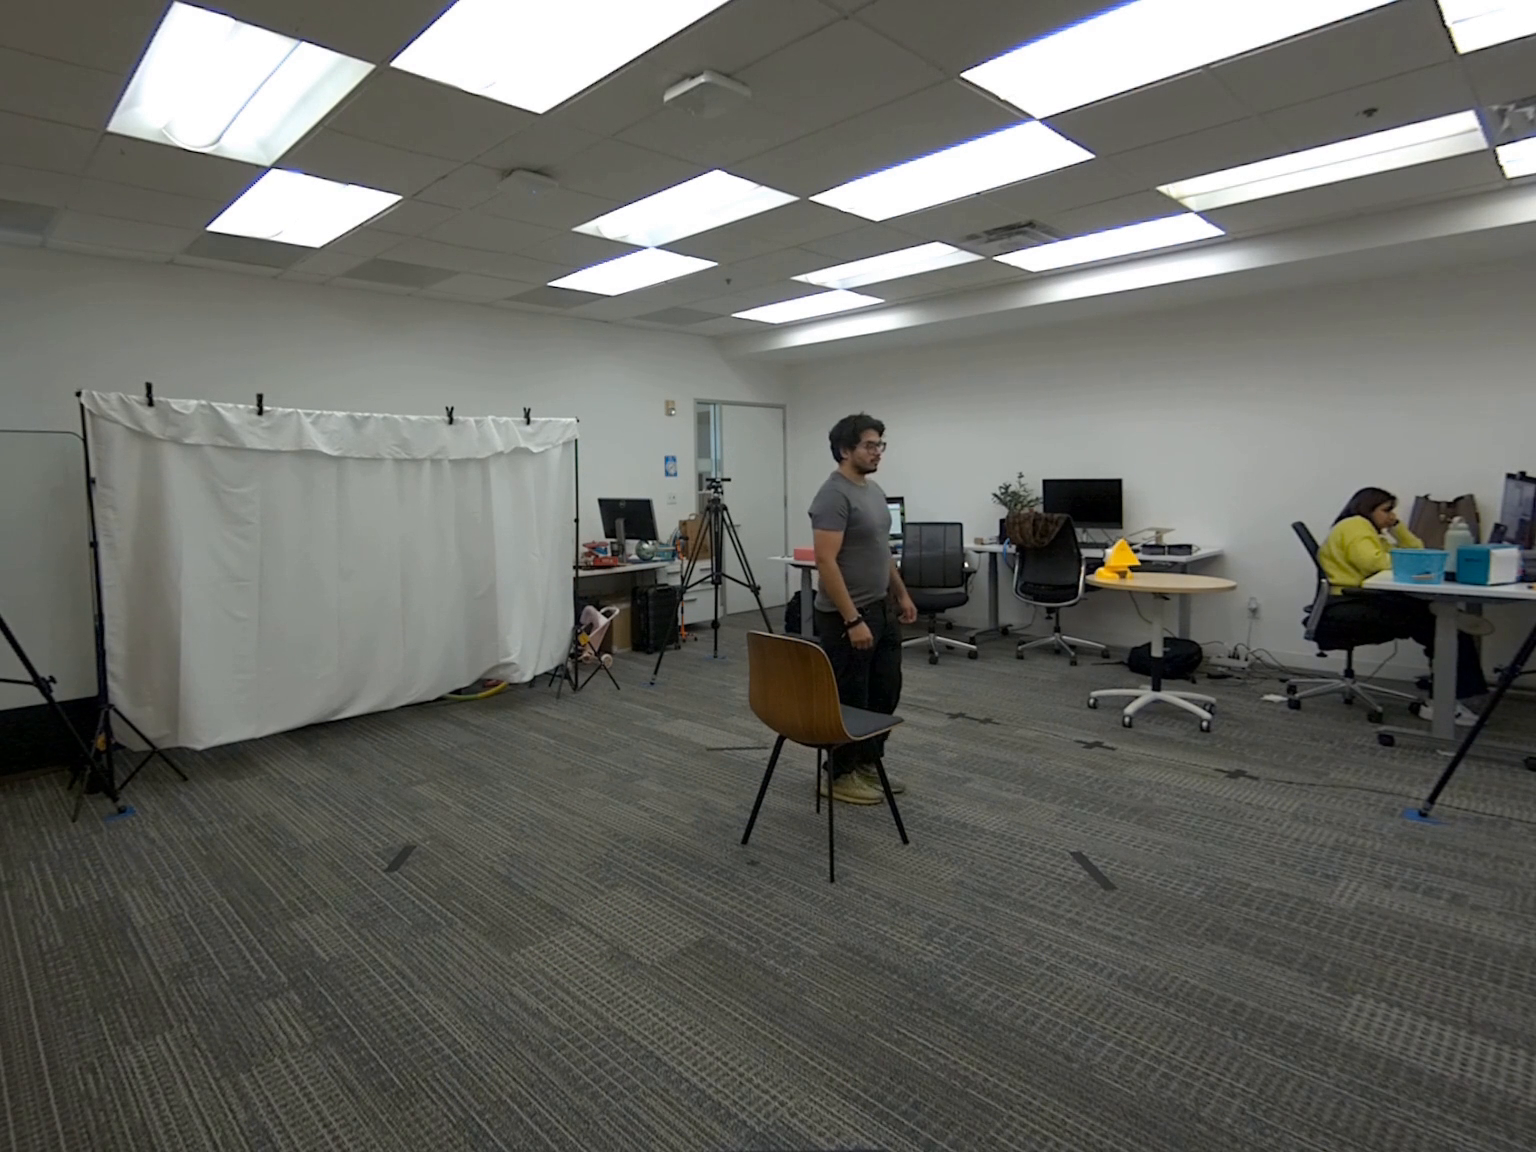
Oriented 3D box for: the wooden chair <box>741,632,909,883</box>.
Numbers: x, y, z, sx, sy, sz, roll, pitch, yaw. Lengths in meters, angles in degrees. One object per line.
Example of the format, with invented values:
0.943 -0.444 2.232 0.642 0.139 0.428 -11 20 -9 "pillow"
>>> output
0.214 0.599 3.227 0.511 0.872 0.493 -11 10 -44 "wooden chair"
